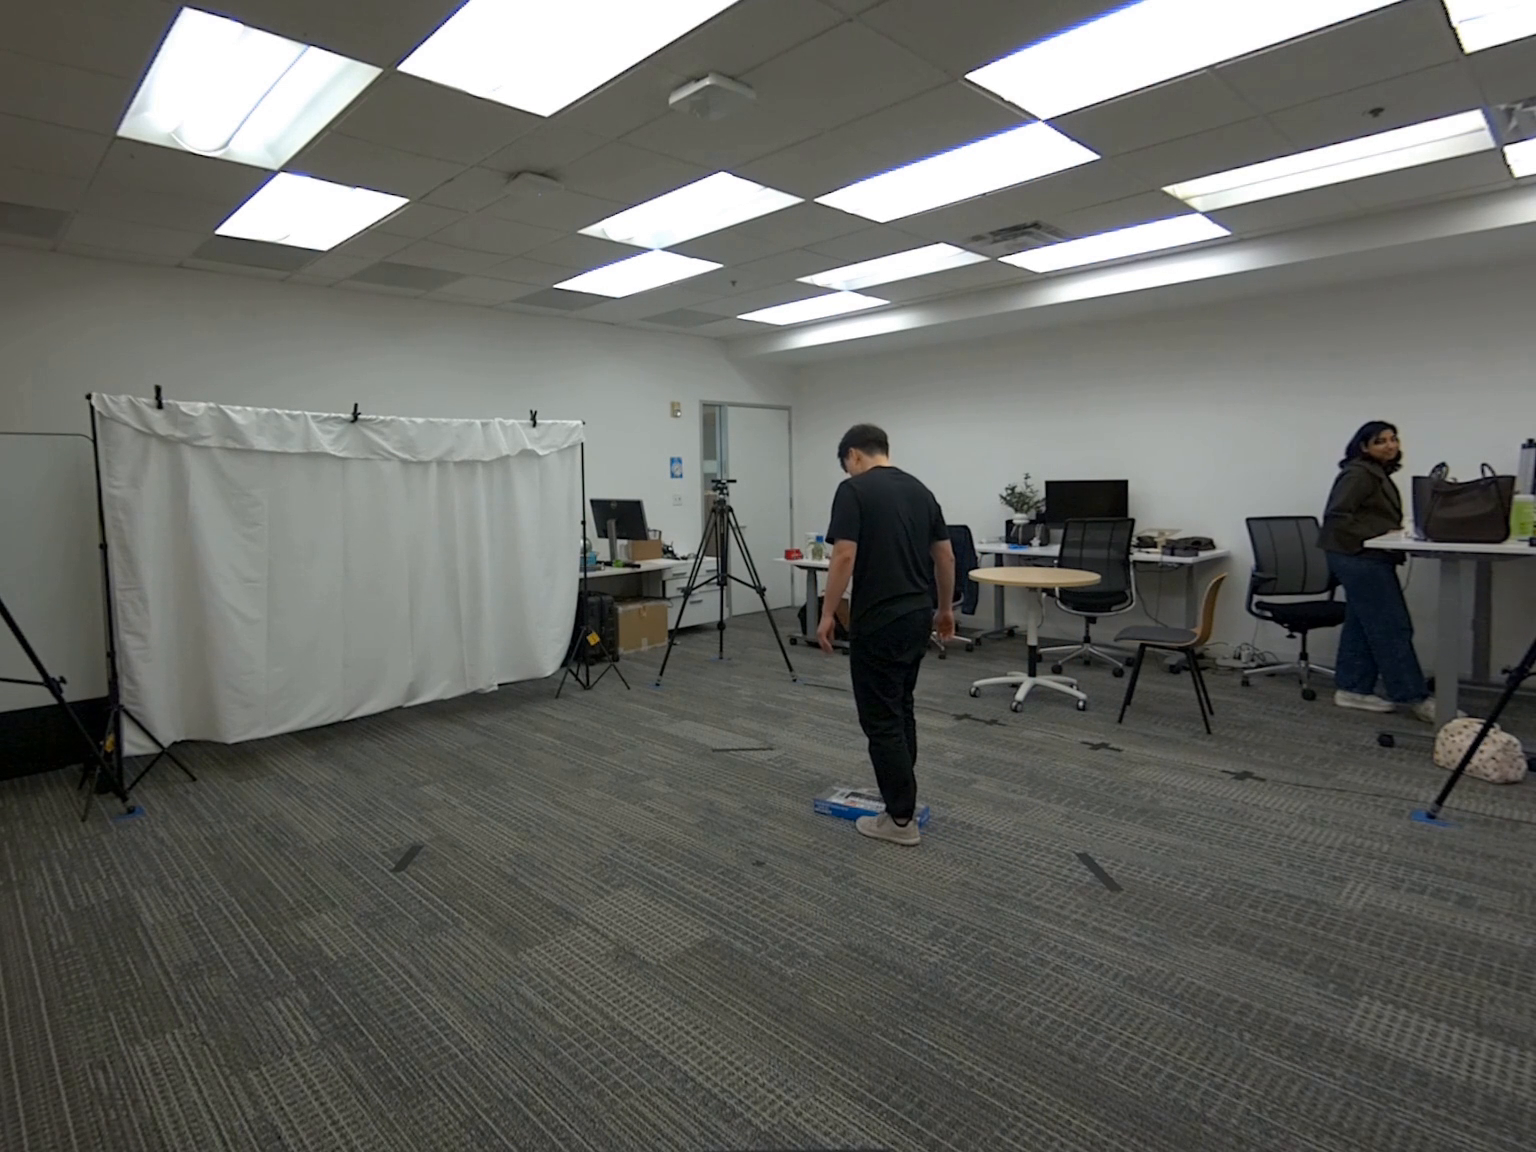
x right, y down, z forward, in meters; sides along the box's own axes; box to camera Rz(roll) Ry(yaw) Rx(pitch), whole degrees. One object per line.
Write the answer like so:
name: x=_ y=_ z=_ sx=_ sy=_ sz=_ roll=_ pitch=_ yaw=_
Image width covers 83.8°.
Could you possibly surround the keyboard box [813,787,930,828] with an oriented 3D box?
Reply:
keyboard box: x=0.424 y=0.963 z=3.530 sx=0.449 sy=0.059 sz=0.172 roll=3 pitch=7 yaw=33
